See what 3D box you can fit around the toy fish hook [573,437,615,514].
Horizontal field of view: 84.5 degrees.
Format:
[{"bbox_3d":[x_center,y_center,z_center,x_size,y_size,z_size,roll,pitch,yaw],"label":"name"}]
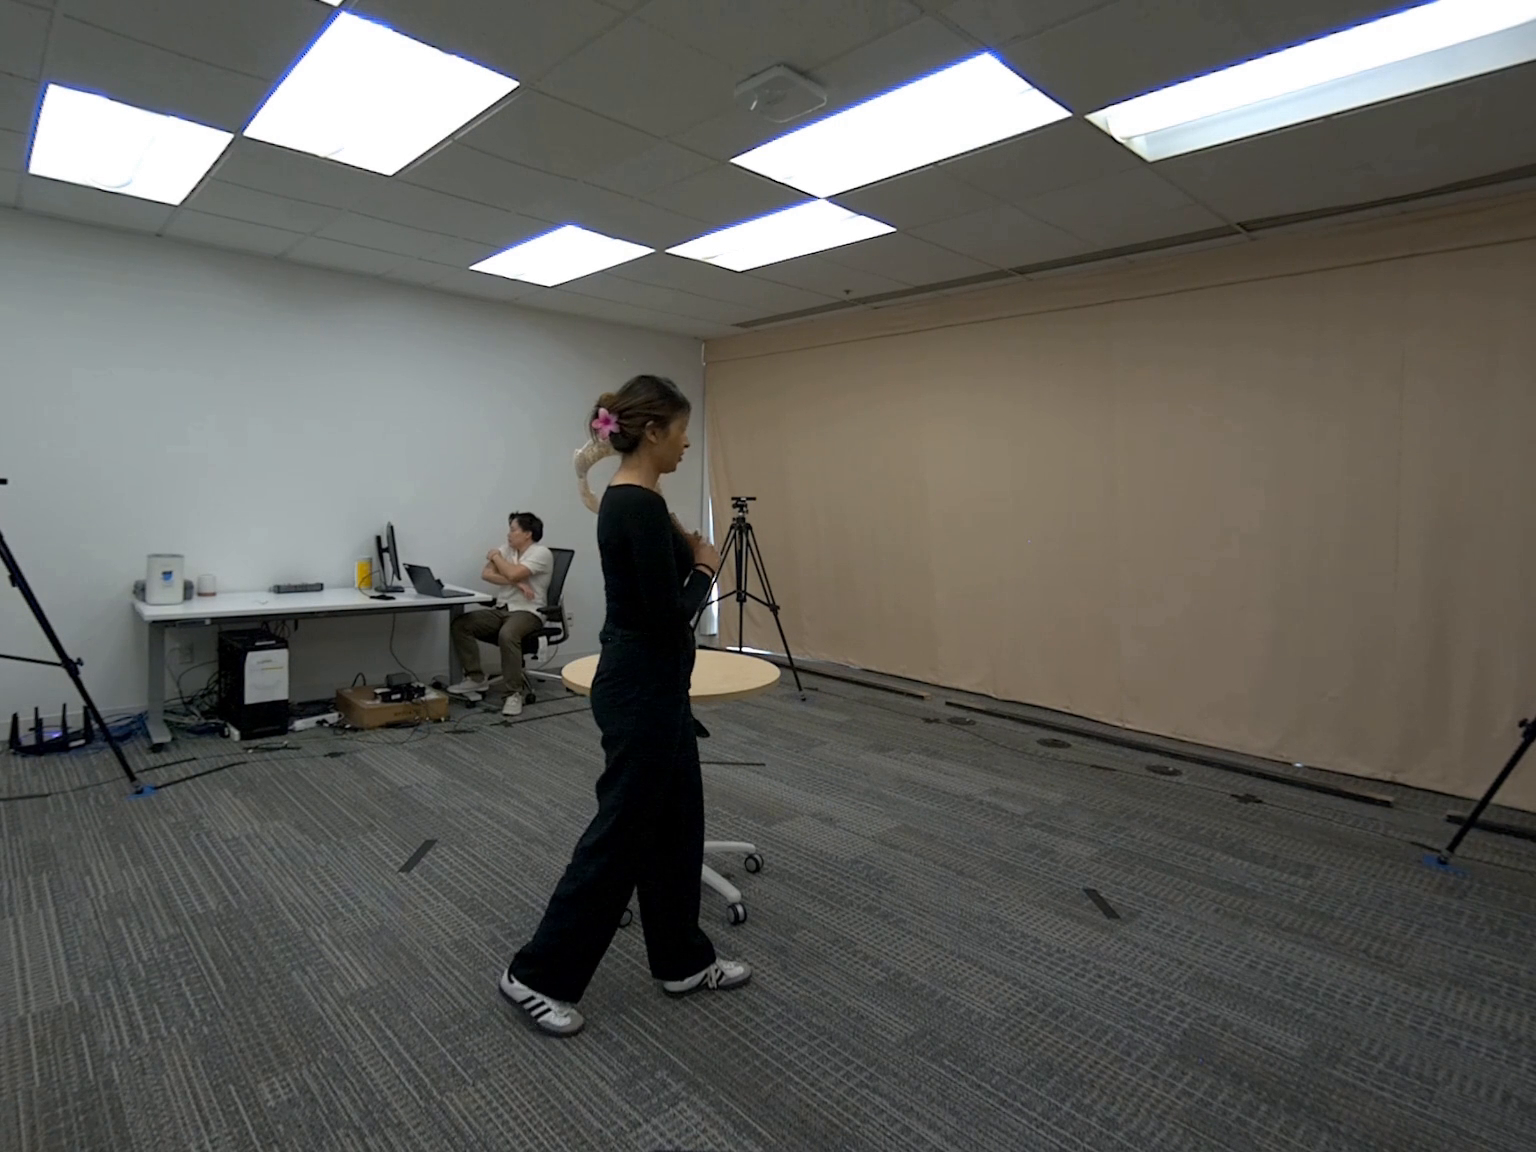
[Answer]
[{"bbox_3d":[-0.359,-0.176,2.334,0.224,0.509,0.048,-39,-4,-2],"label":"toy fish hook"}]
